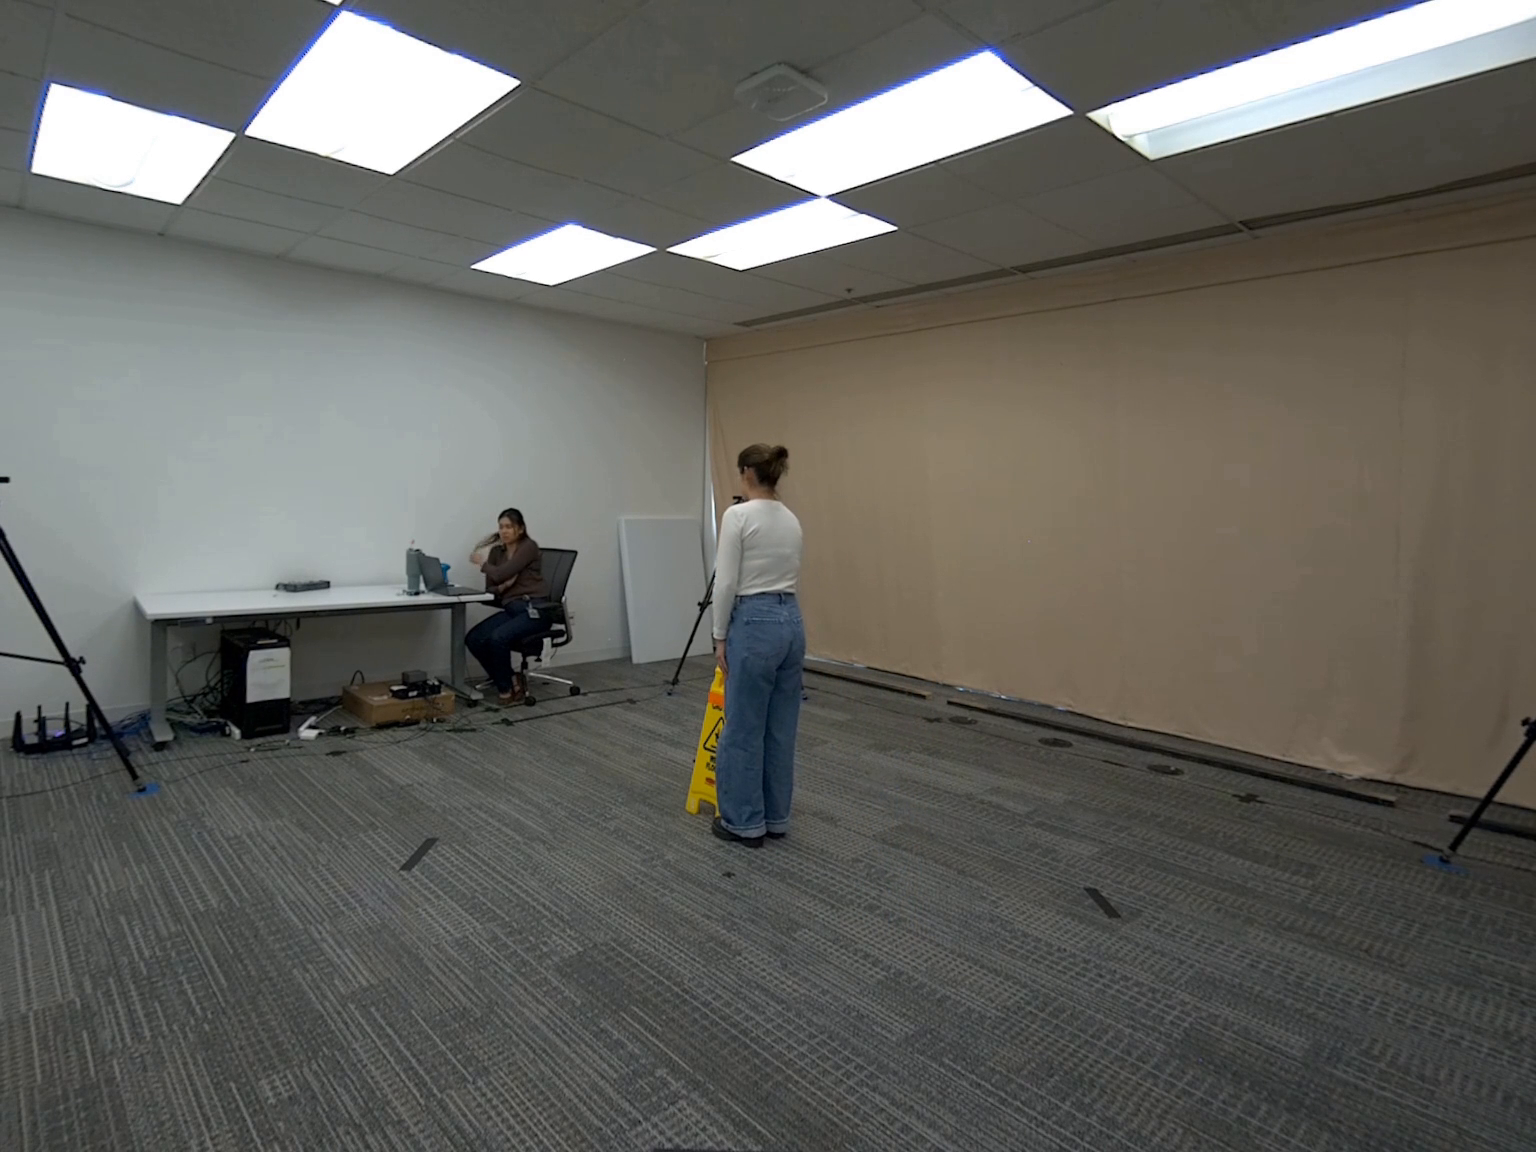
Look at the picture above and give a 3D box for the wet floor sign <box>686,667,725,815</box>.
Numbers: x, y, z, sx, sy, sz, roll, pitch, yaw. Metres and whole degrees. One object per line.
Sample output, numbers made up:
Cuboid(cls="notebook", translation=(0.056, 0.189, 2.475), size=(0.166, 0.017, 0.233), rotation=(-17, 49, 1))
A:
Cuboid(cls="wet floor sign", translation=(-0.175, 0.727, 3.717), size=(0.283, 0.645, 0.289), rotation=(-2, 4, -42))
